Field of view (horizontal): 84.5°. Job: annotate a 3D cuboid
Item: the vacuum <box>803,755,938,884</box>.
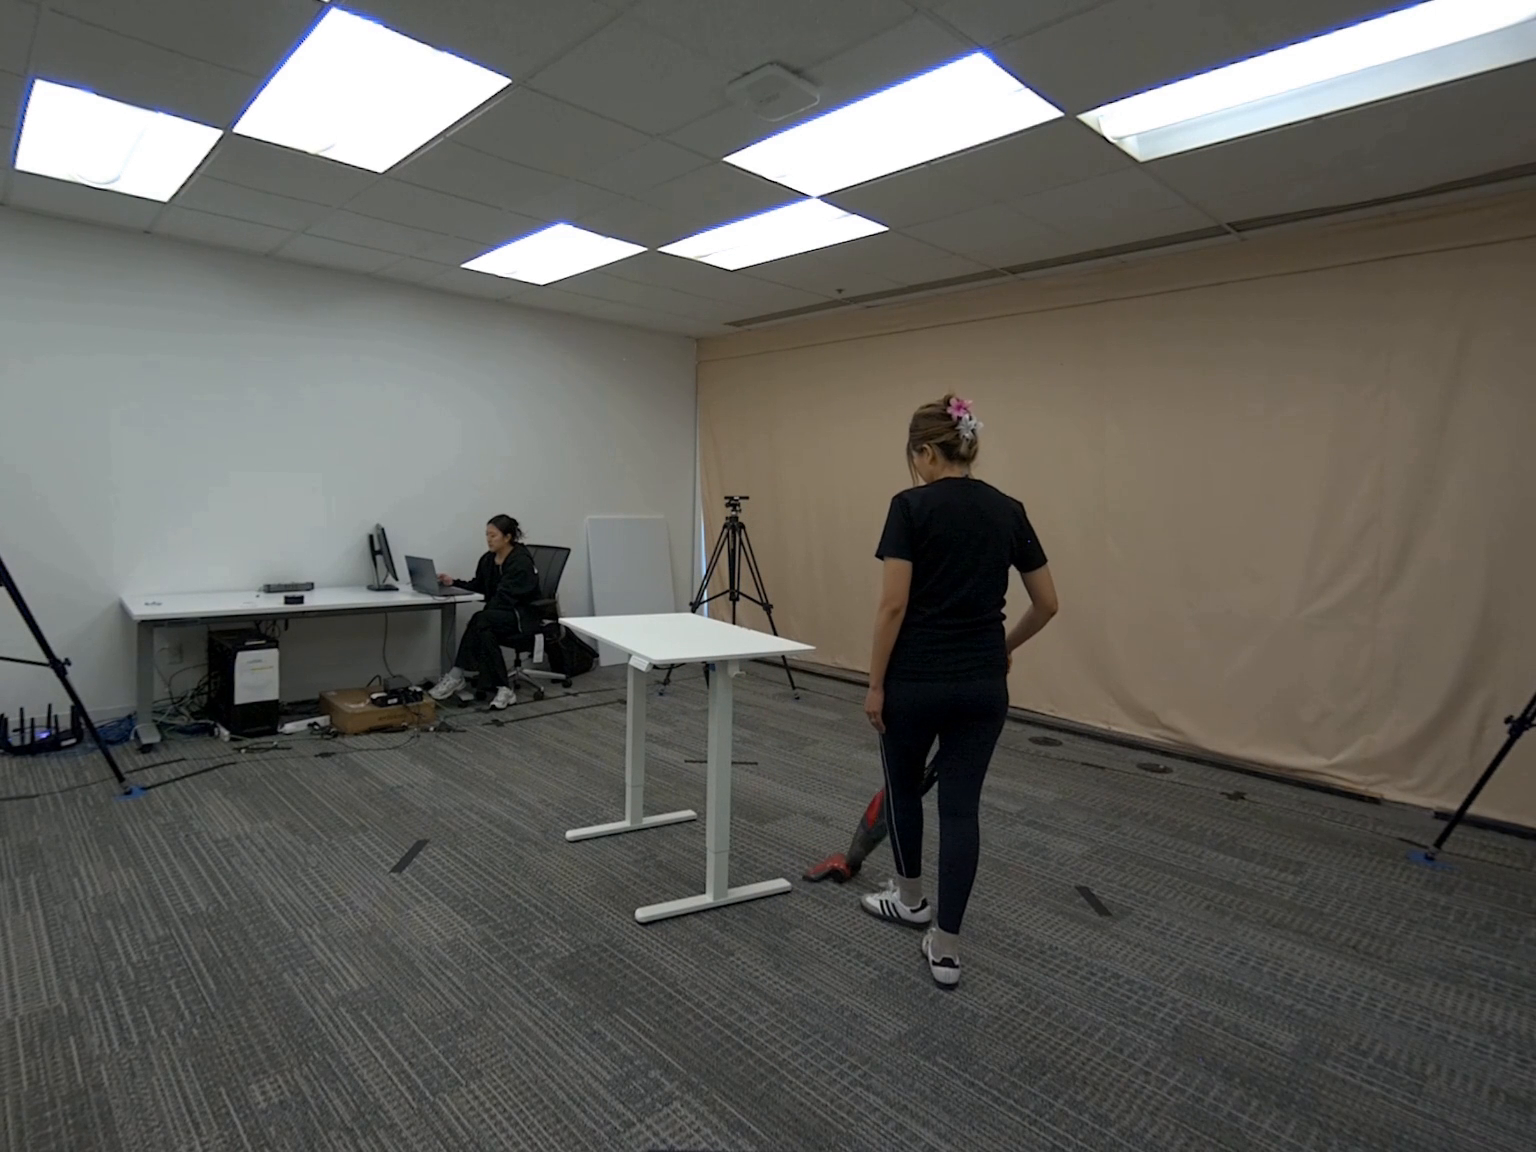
[{"bbox_3d":[0.495,0.705,2.938,0.147,1.044,0.248,42,25,22],"label":"vacuum"}]
